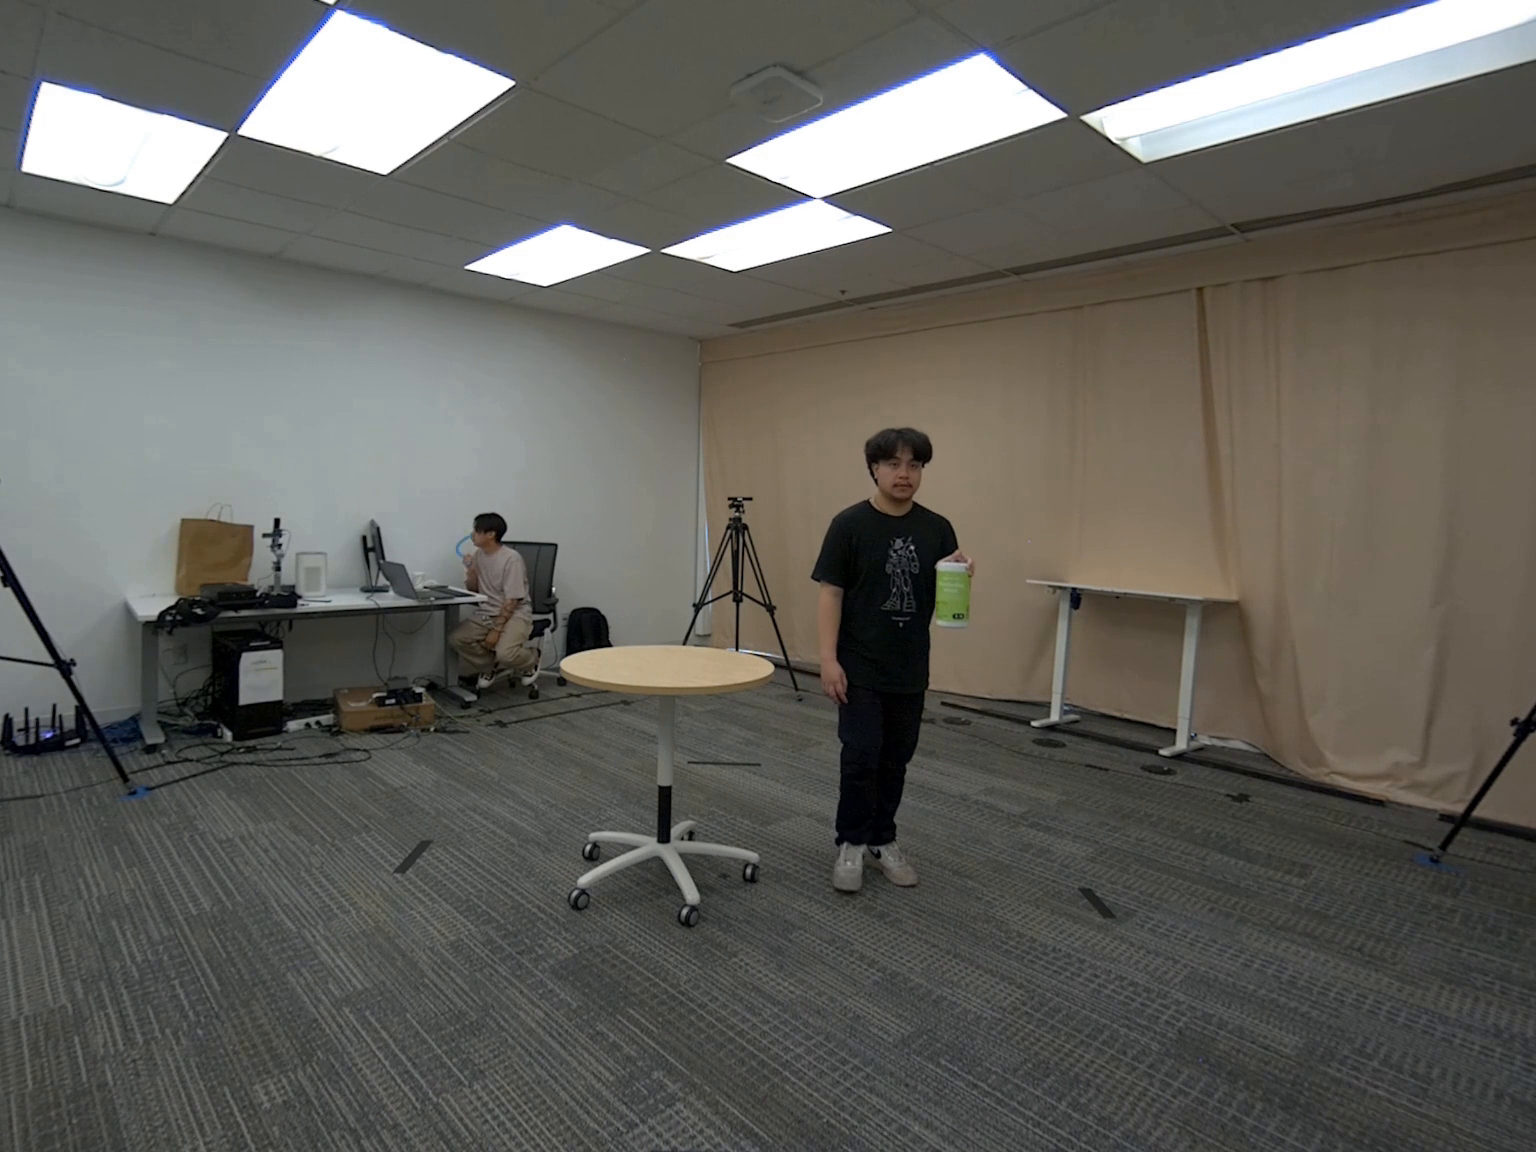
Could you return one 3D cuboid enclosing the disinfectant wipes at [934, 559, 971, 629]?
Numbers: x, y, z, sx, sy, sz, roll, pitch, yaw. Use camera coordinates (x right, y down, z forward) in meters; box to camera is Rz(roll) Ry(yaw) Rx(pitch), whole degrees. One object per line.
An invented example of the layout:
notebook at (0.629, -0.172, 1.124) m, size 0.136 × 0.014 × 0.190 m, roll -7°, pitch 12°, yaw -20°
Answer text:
disinfectant wipes at (0.601, 0.061, 2.827) m, size 0.118 × 0.217 × 0.118 m, roll 1°, pitch 5°, yaw -1°
